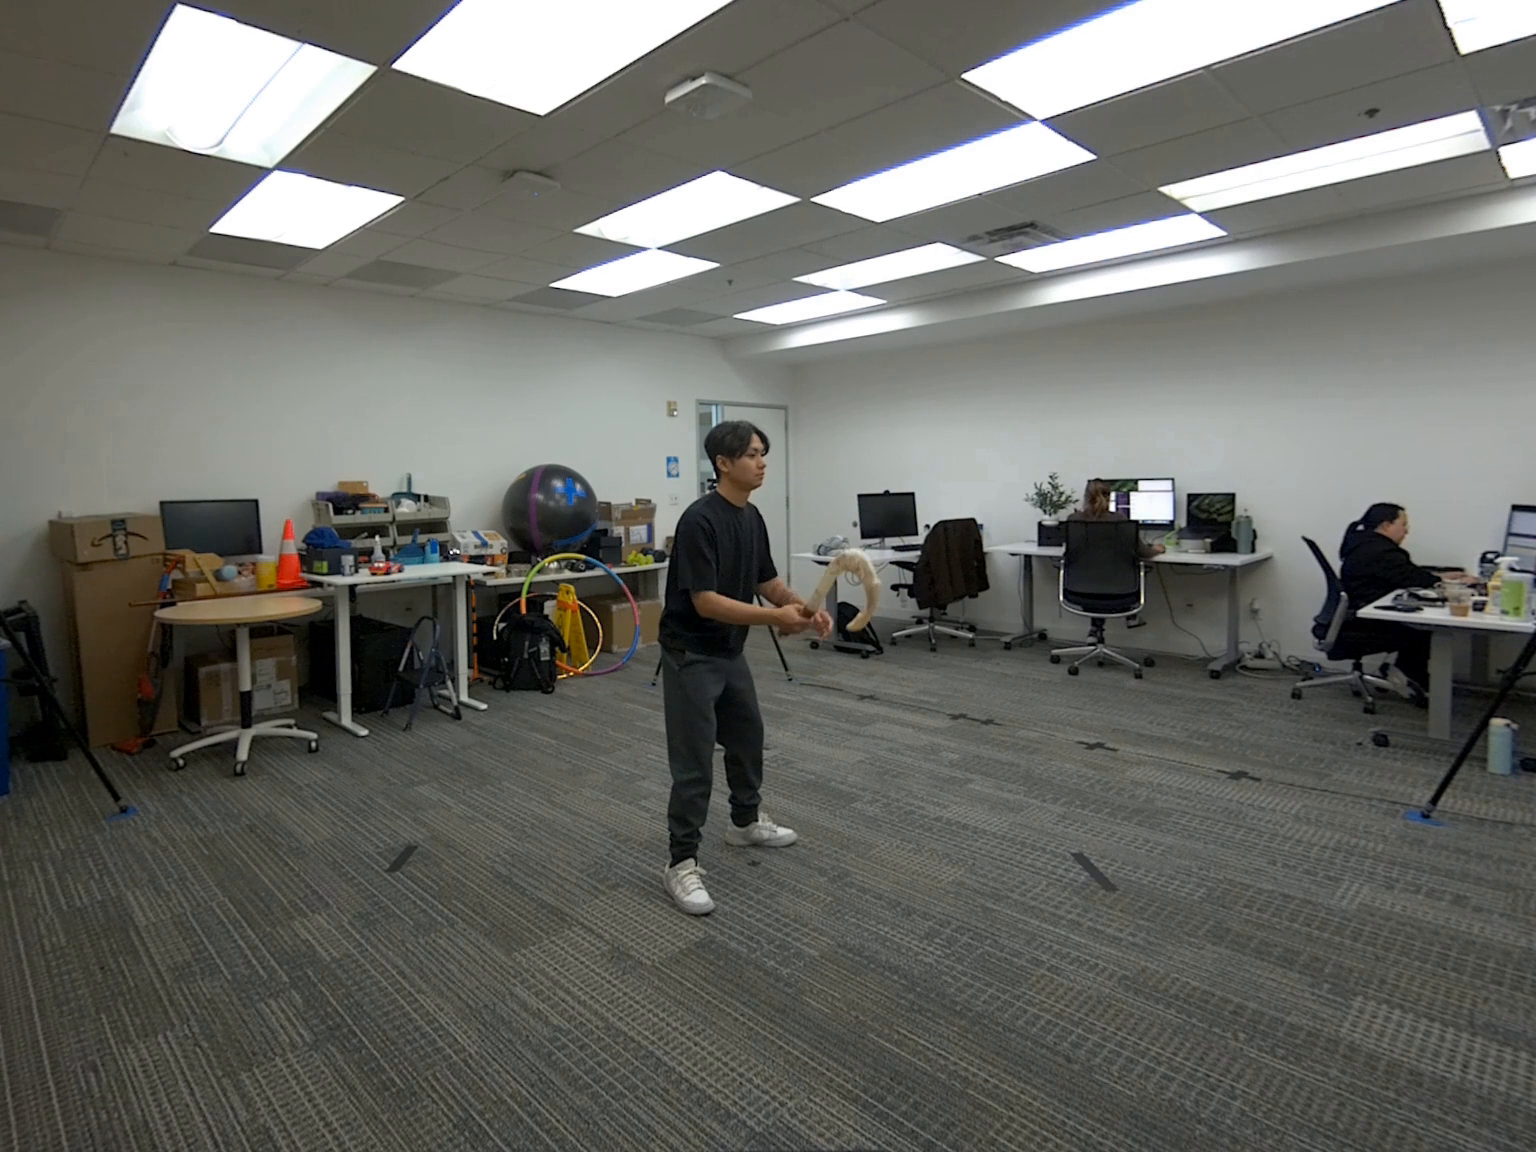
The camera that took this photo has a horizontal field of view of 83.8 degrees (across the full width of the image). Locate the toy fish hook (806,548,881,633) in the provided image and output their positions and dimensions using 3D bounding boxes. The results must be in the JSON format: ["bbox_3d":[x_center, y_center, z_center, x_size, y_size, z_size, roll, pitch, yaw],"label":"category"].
[{"bbox_3d":[0.169,0.128,2.630,0.047,0.231,0.505,0,-31,-33],"label":"toy fish hook"}]
